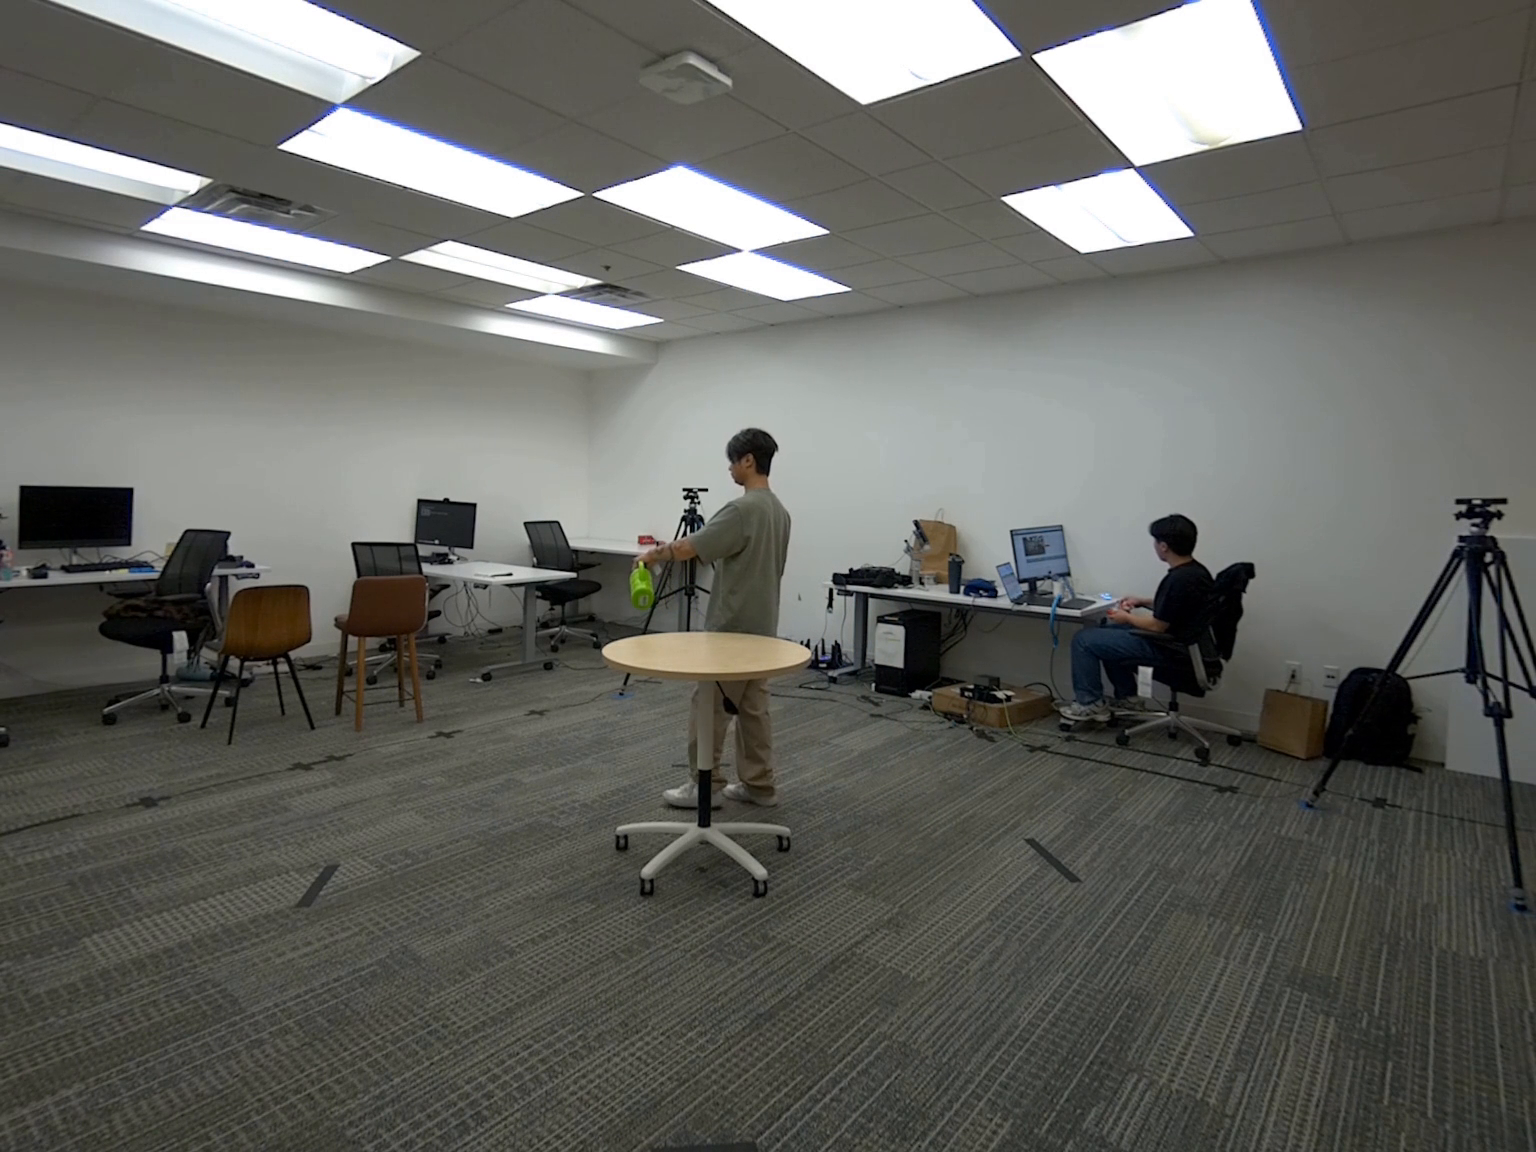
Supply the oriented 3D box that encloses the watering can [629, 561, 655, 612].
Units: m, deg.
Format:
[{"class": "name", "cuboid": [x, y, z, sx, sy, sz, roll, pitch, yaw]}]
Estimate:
[{"class": "watering can", "cuboid": [-0.556, 0.068, 3.689, 0.098, 0.269, 0.183, -12, 44, -1]}]
